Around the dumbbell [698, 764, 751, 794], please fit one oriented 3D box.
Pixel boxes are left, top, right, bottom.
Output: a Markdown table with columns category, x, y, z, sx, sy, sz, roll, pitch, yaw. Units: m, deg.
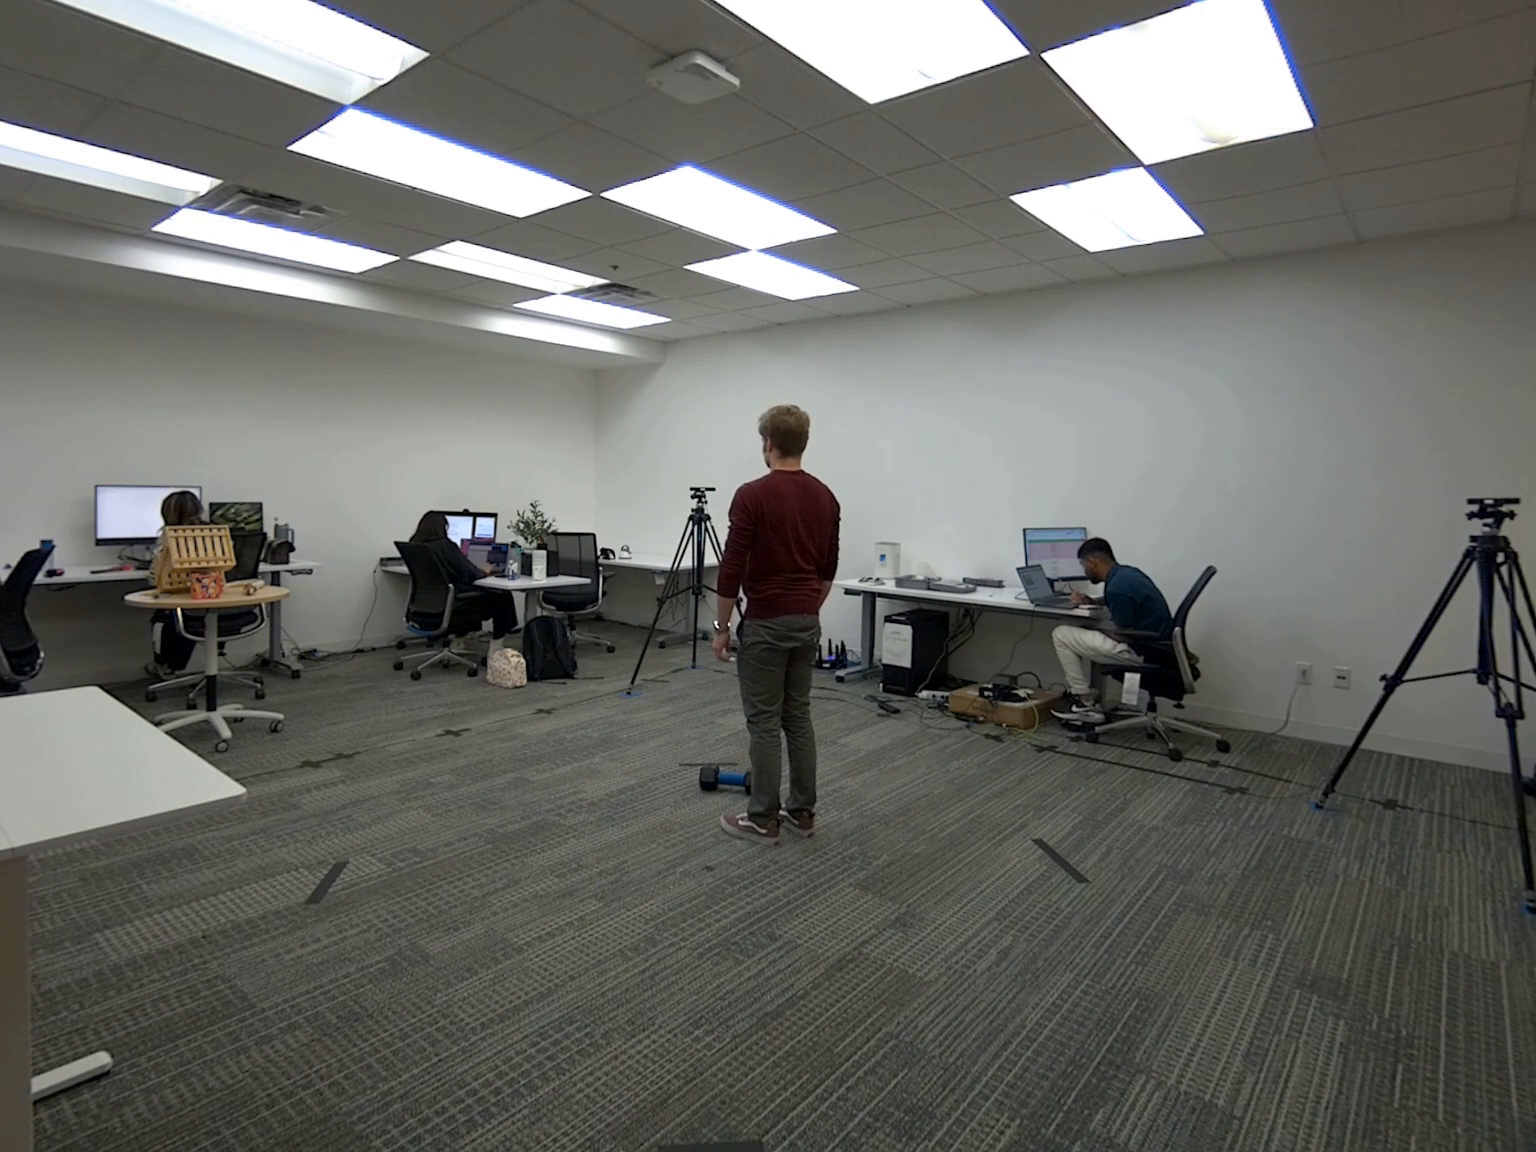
| category | x | y | z | sx | sy | sz | roll | pitch | yaw |
| --- | --- | --- | --- | --- | --- | --- | --- | --- | --- |
| dumbbell | -0.175 | 0.933 | 3.926 | 0.297 | 0.125 | 0.105 | 2 | -26 | 10 |
